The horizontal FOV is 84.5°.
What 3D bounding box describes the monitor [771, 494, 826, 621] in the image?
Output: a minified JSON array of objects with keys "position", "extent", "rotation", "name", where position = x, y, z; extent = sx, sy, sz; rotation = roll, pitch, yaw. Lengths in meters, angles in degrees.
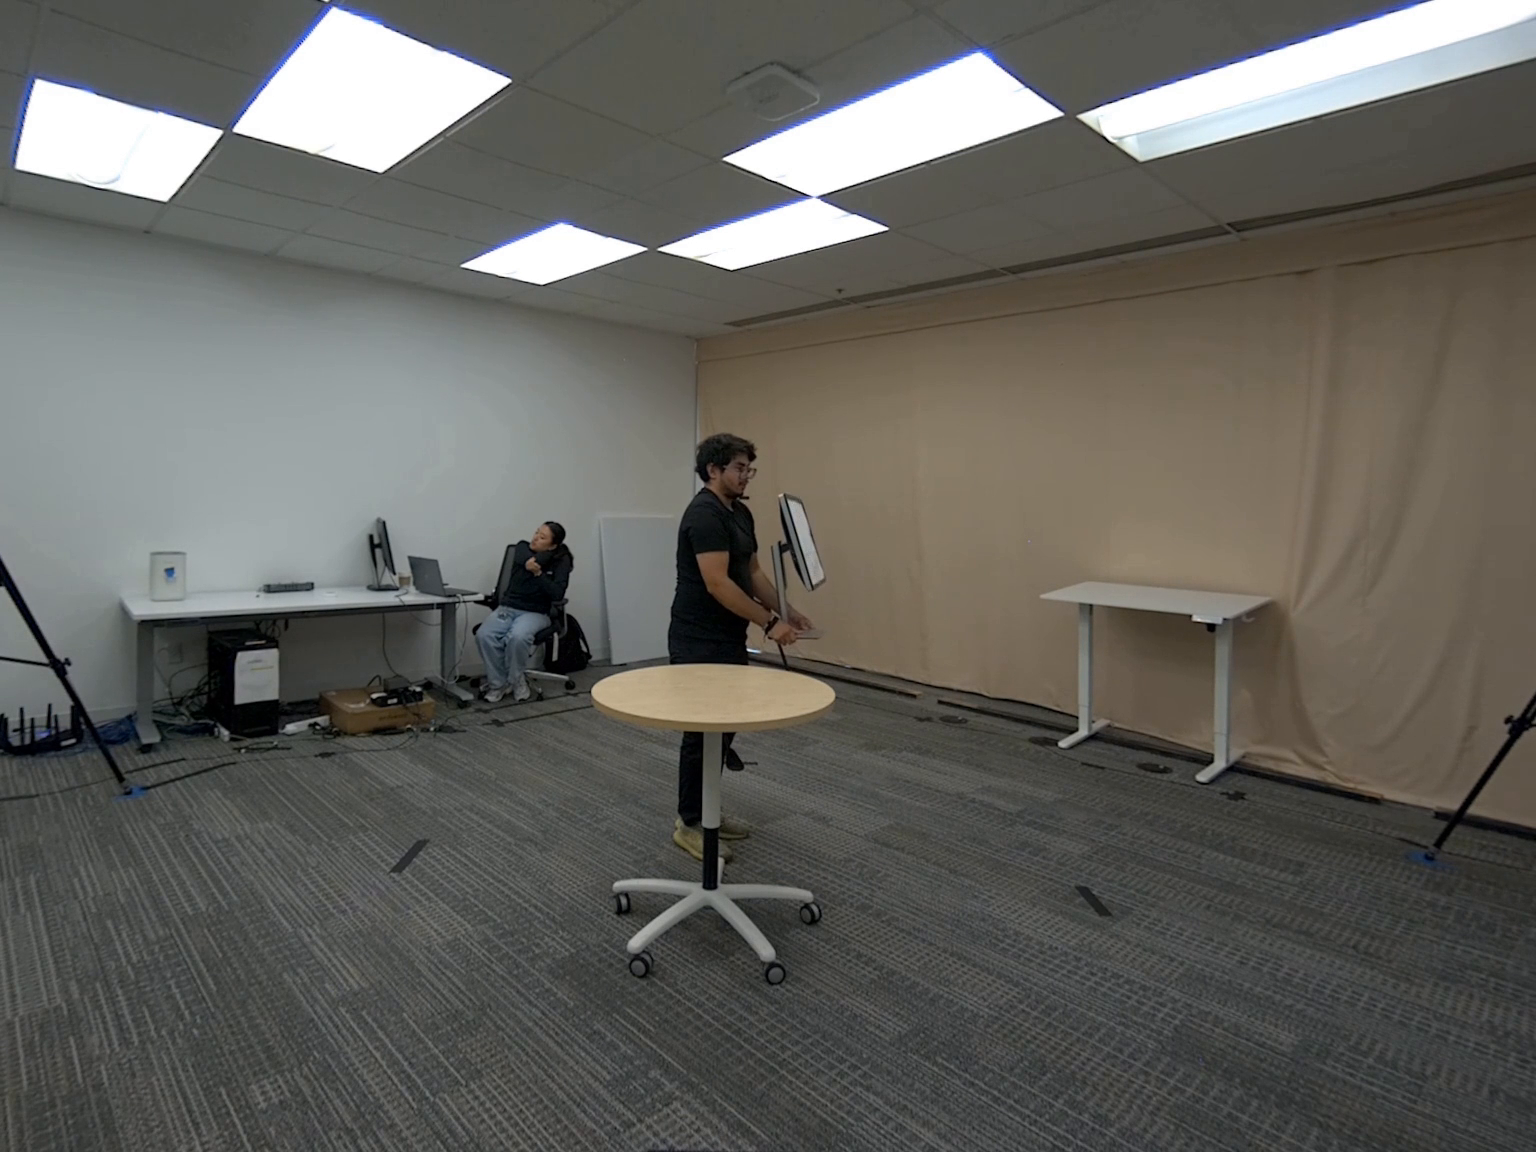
[{"position":[0.074,-0.036,3.291],"extent":[0.211,0.554,0.561],"rotation":[-9,0,9],"name":"monitor"}]
